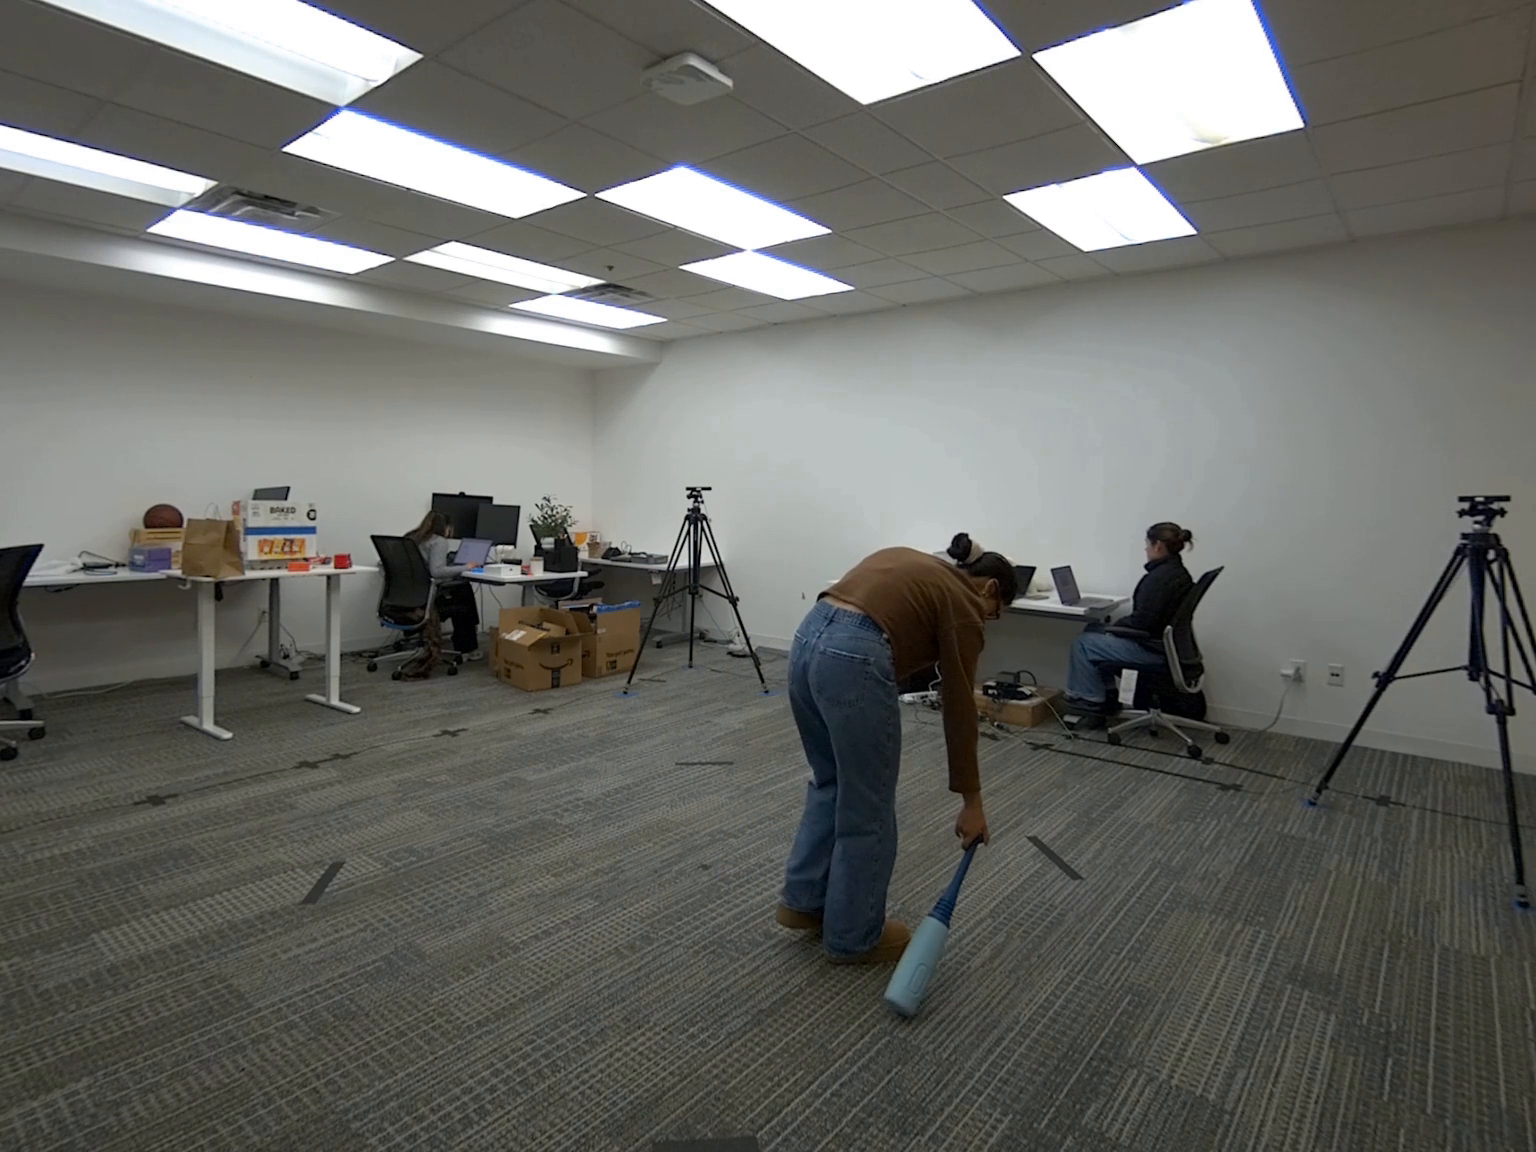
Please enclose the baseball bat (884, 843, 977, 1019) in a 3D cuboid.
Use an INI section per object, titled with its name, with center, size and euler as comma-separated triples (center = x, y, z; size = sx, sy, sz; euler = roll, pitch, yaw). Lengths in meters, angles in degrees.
[baseball bat]
center = 0.475, 0.954, 2.369
size = 0.092, 0.086, 0.543
euler = 5, 48, 50
